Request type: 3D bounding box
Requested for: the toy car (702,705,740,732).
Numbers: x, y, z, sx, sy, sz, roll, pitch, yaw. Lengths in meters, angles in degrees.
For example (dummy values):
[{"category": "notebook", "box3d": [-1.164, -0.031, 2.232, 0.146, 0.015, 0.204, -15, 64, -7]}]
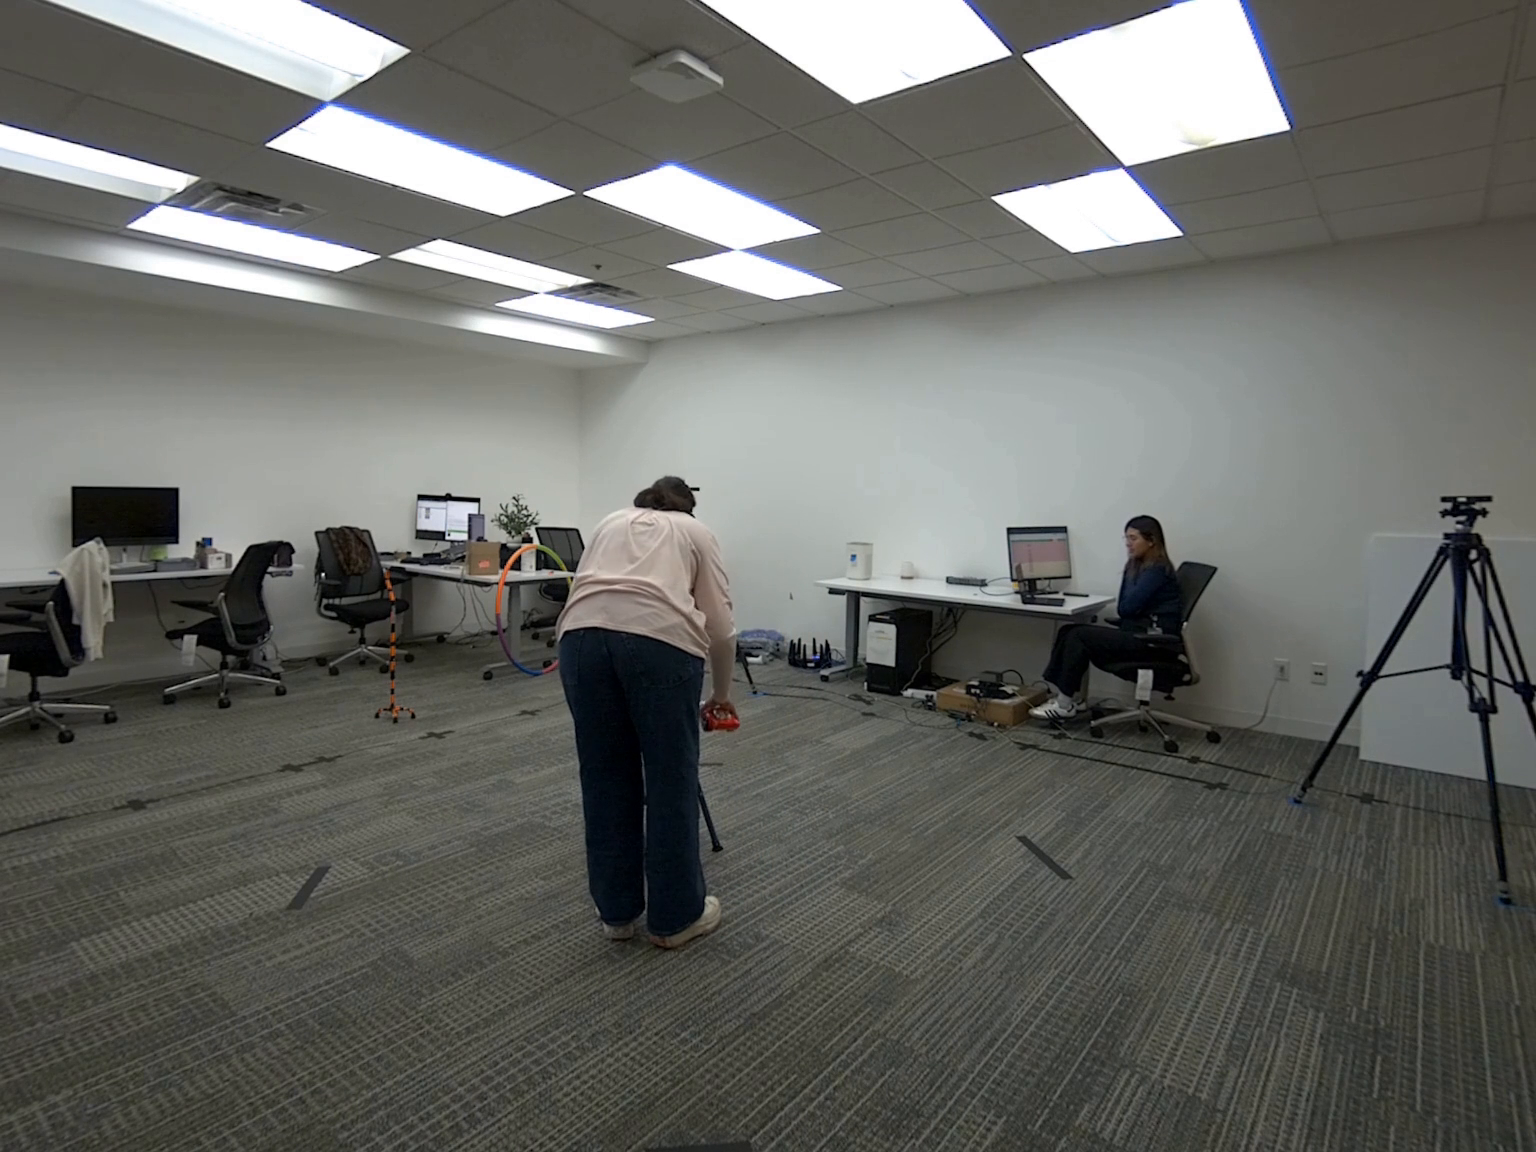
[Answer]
[{"category": "toy car", "box3d": [-0.196, 0.484, 2.920, 0.127, 0.083, 0.260, 6, 0, -23]}]
